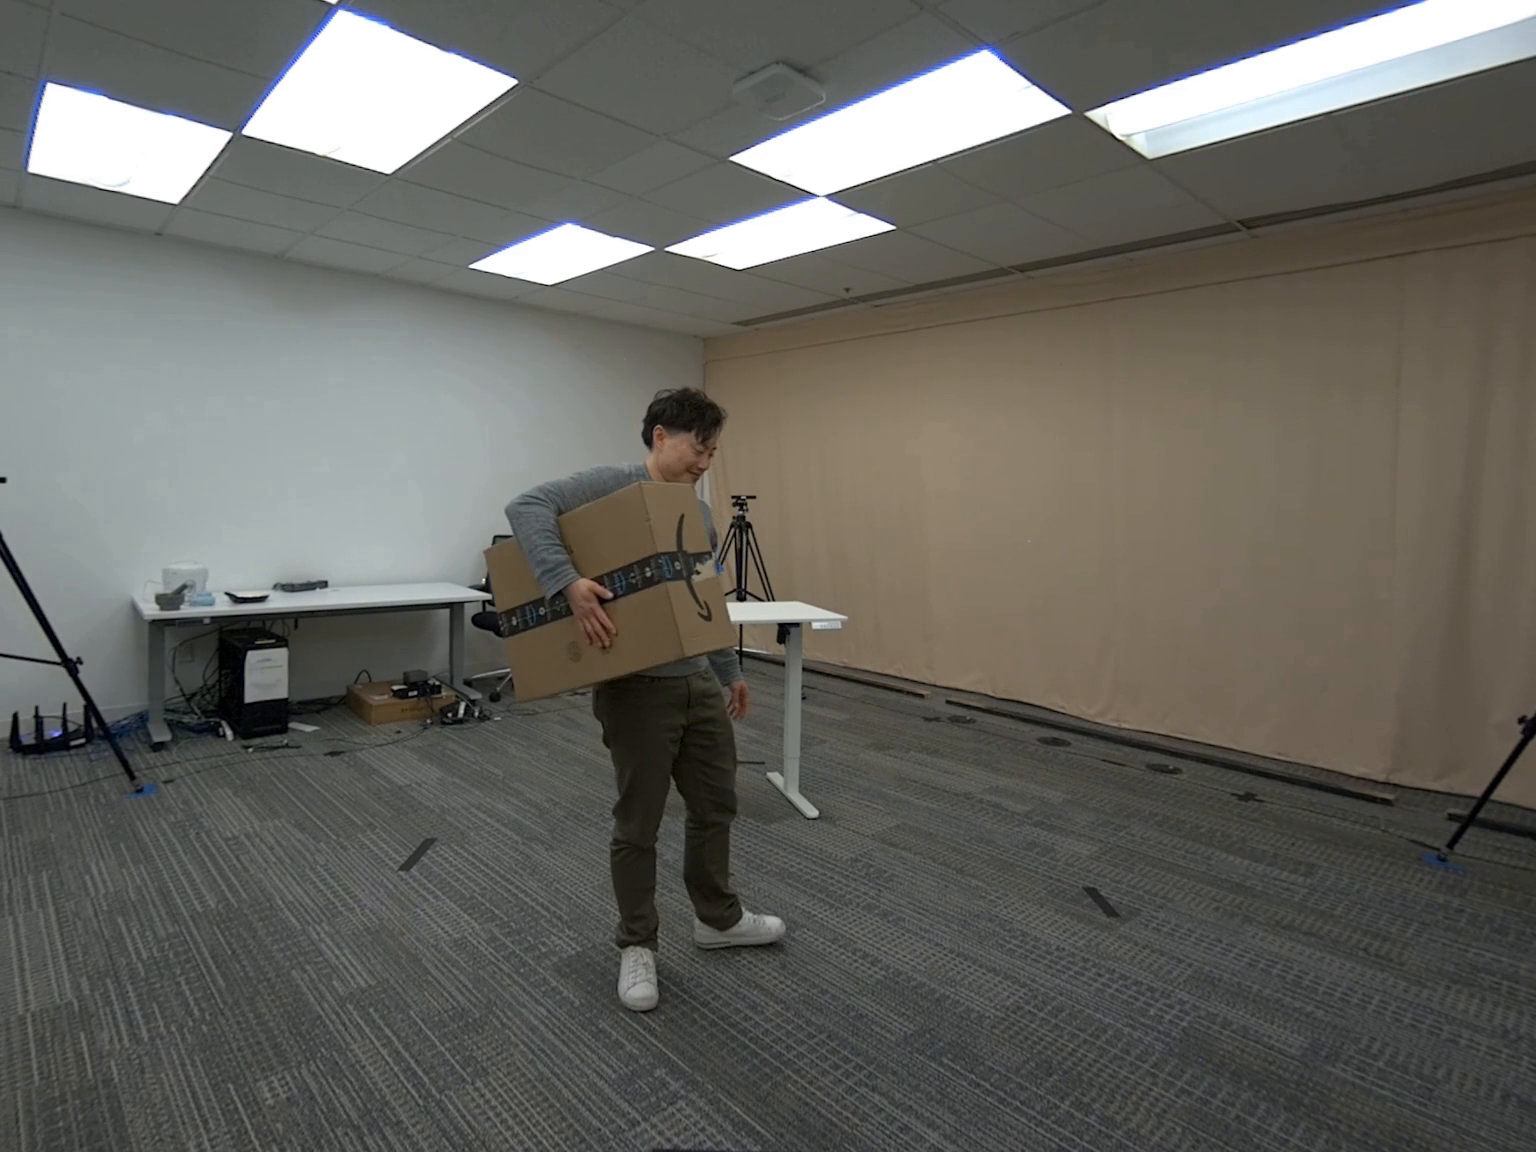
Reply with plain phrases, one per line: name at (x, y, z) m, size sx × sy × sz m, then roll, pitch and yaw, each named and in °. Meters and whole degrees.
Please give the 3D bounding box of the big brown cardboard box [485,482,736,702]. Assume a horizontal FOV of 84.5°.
big brown cardboard box at (-0.414, 0.055, 2.132) m, size 0.597 × 0.420 × 0.228 m, roll -18°, pitch -8°, yaw 33°
